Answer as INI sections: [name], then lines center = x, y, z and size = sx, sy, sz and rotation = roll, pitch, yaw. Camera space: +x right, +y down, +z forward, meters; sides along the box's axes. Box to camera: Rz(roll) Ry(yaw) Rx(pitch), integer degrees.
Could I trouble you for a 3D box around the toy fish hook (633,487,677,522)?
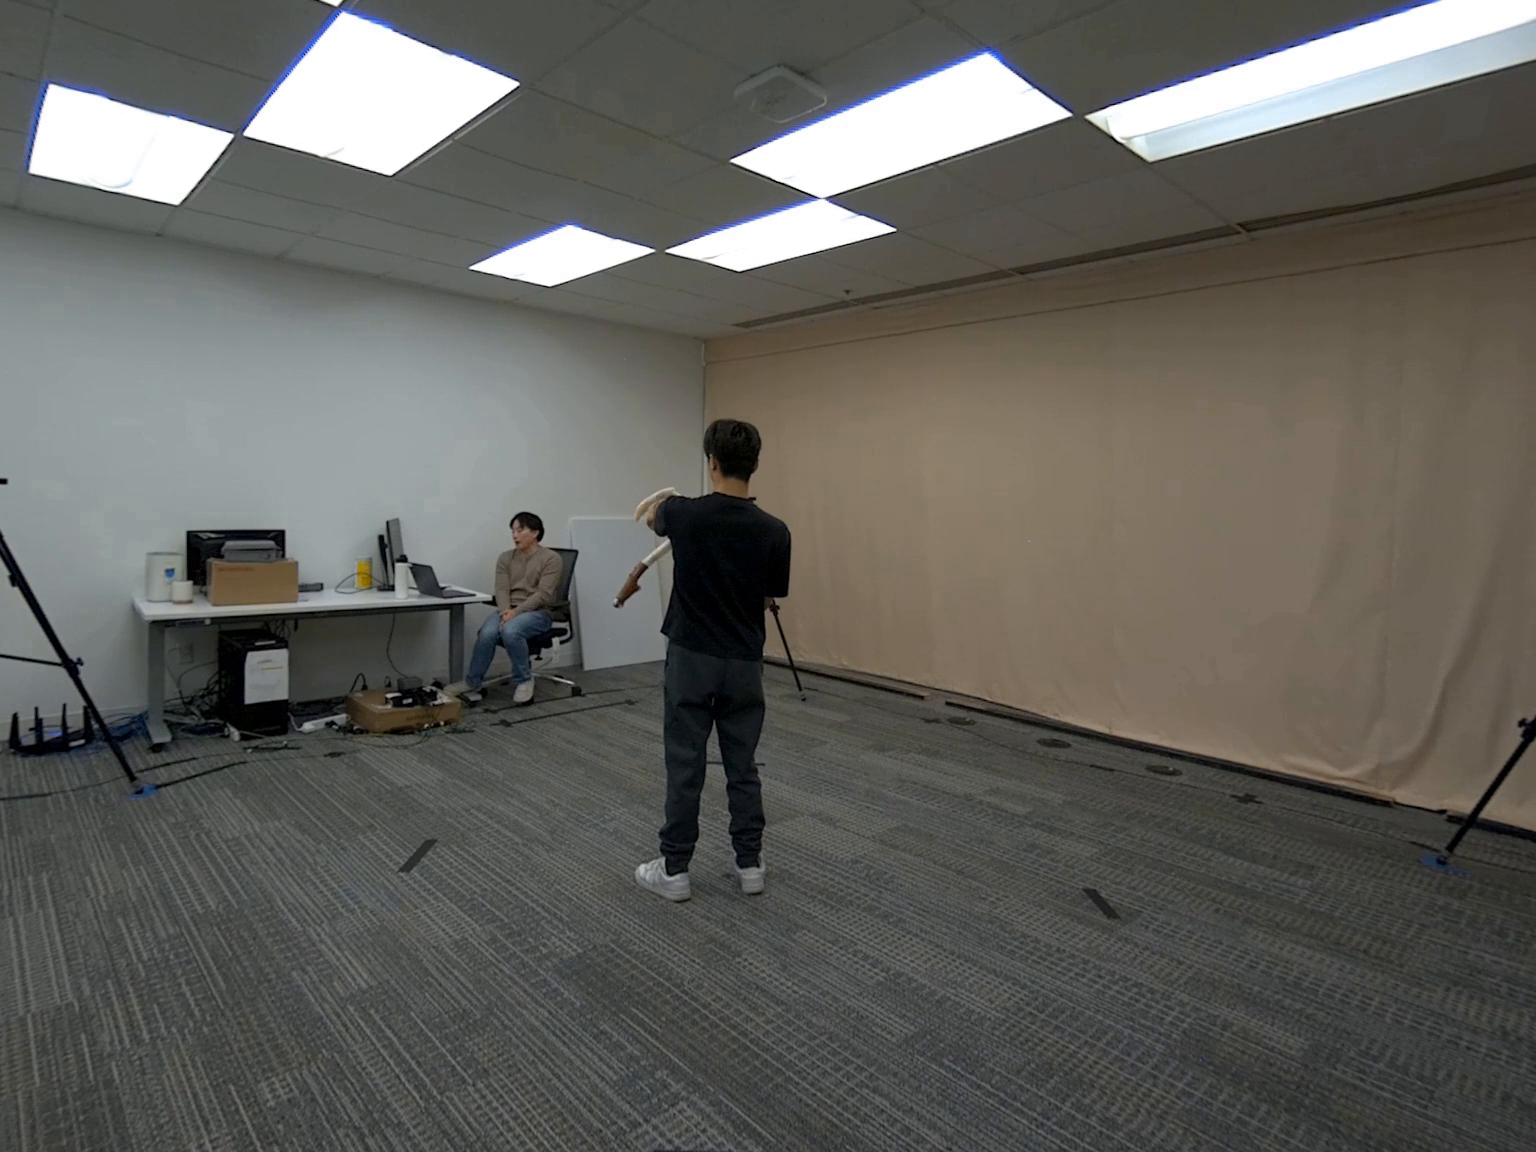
[toy fish hook]
center = -0.481, -0.111, 3.270
size = 0.220, 0.507, 0.049
rotation = 37, -10, -17
